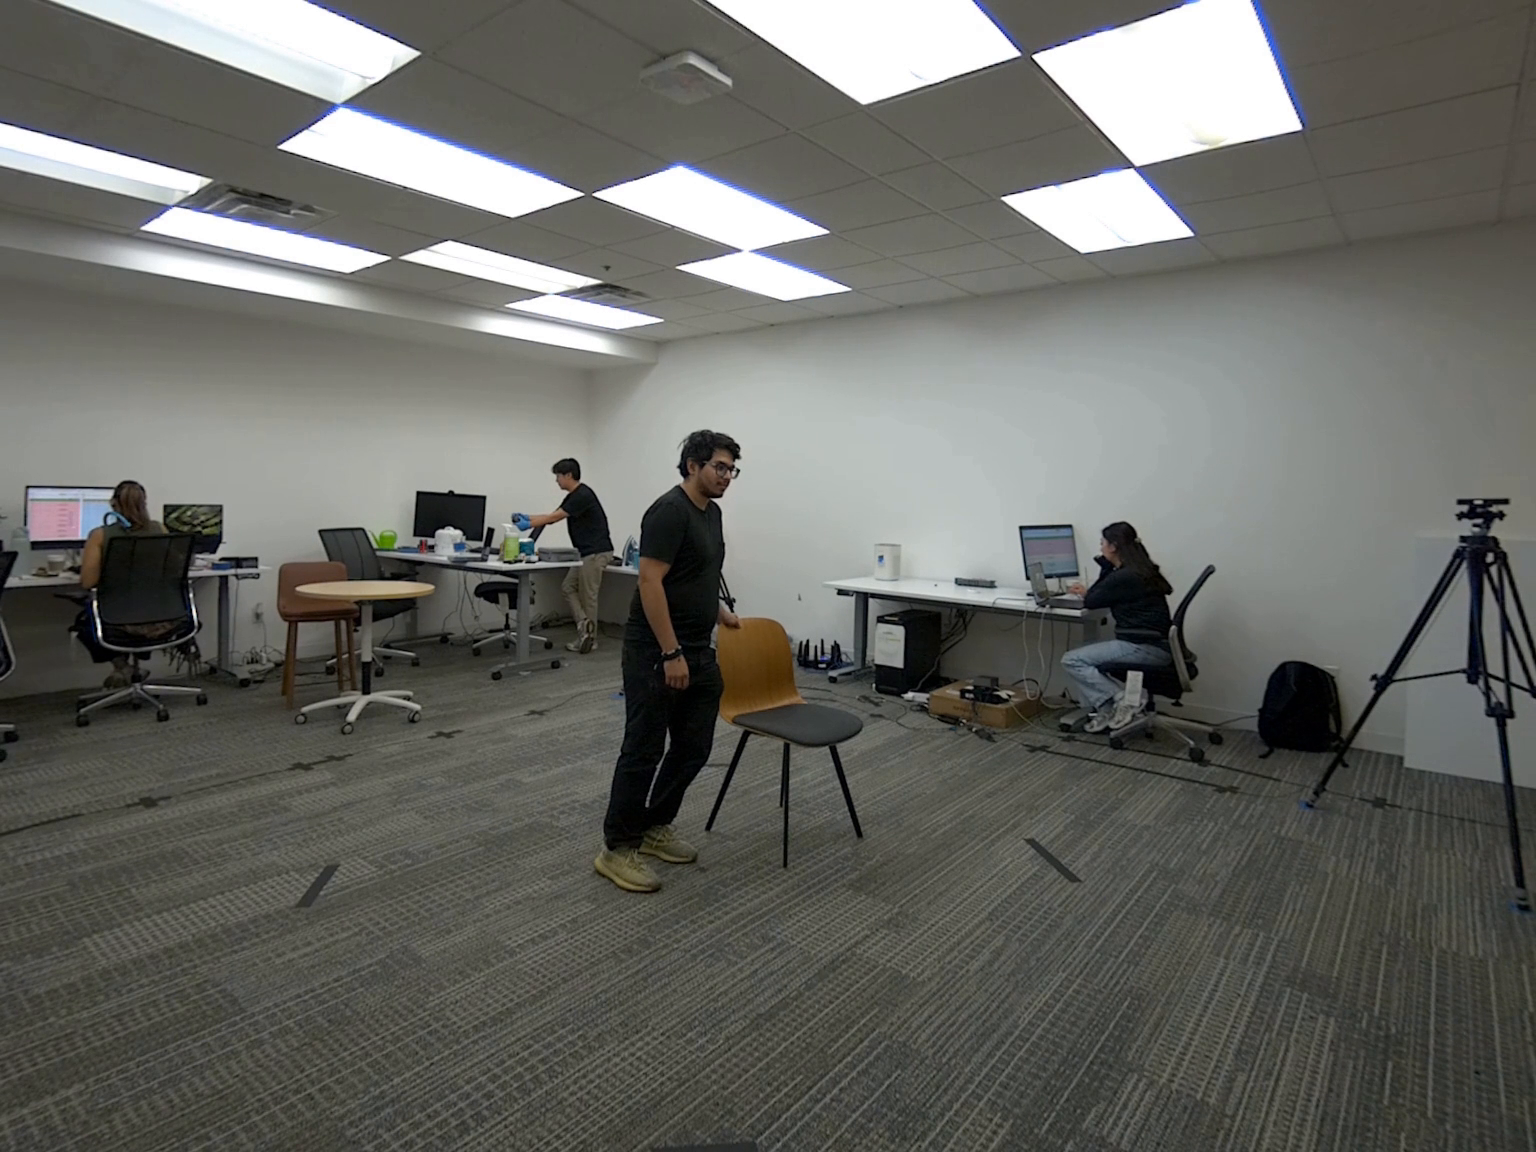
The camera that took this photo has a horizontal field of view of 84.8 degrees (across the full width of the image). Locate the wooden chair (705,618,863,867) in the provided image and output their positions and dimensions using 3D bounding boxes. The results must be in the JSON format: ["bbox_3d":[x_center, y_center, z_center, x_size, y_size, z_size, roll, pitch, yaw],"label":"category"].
[{"bbox_3d":[0.074,0.620,3.416,0.463,0.877,0.539,-2,1,-44],"label":"wooden chair"}]
